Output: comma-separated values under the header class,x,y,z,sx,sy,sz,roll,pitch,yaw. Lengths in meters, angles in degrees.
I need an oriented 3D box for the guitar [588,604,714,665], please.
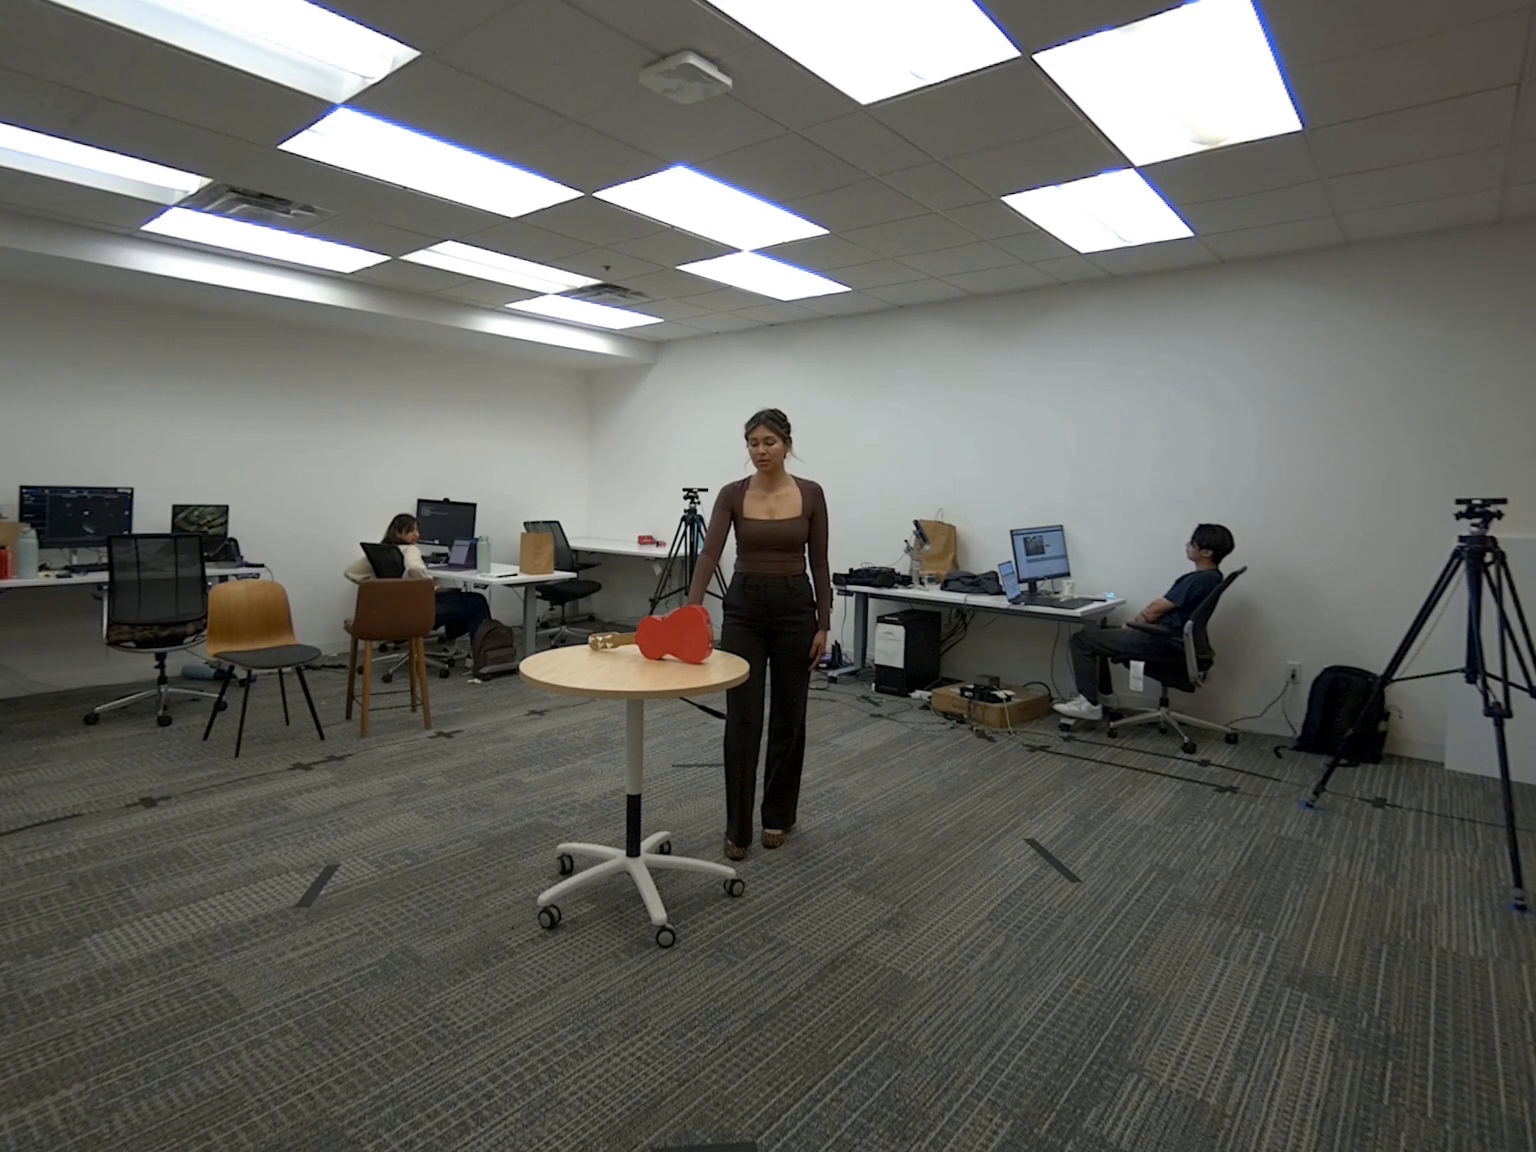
class,x,y,z,sx,sy,sz,roll,pitch,yaw
guitar,-0.429,0.241,2.965,0.506,0.194,0.069,-16,-3,23
